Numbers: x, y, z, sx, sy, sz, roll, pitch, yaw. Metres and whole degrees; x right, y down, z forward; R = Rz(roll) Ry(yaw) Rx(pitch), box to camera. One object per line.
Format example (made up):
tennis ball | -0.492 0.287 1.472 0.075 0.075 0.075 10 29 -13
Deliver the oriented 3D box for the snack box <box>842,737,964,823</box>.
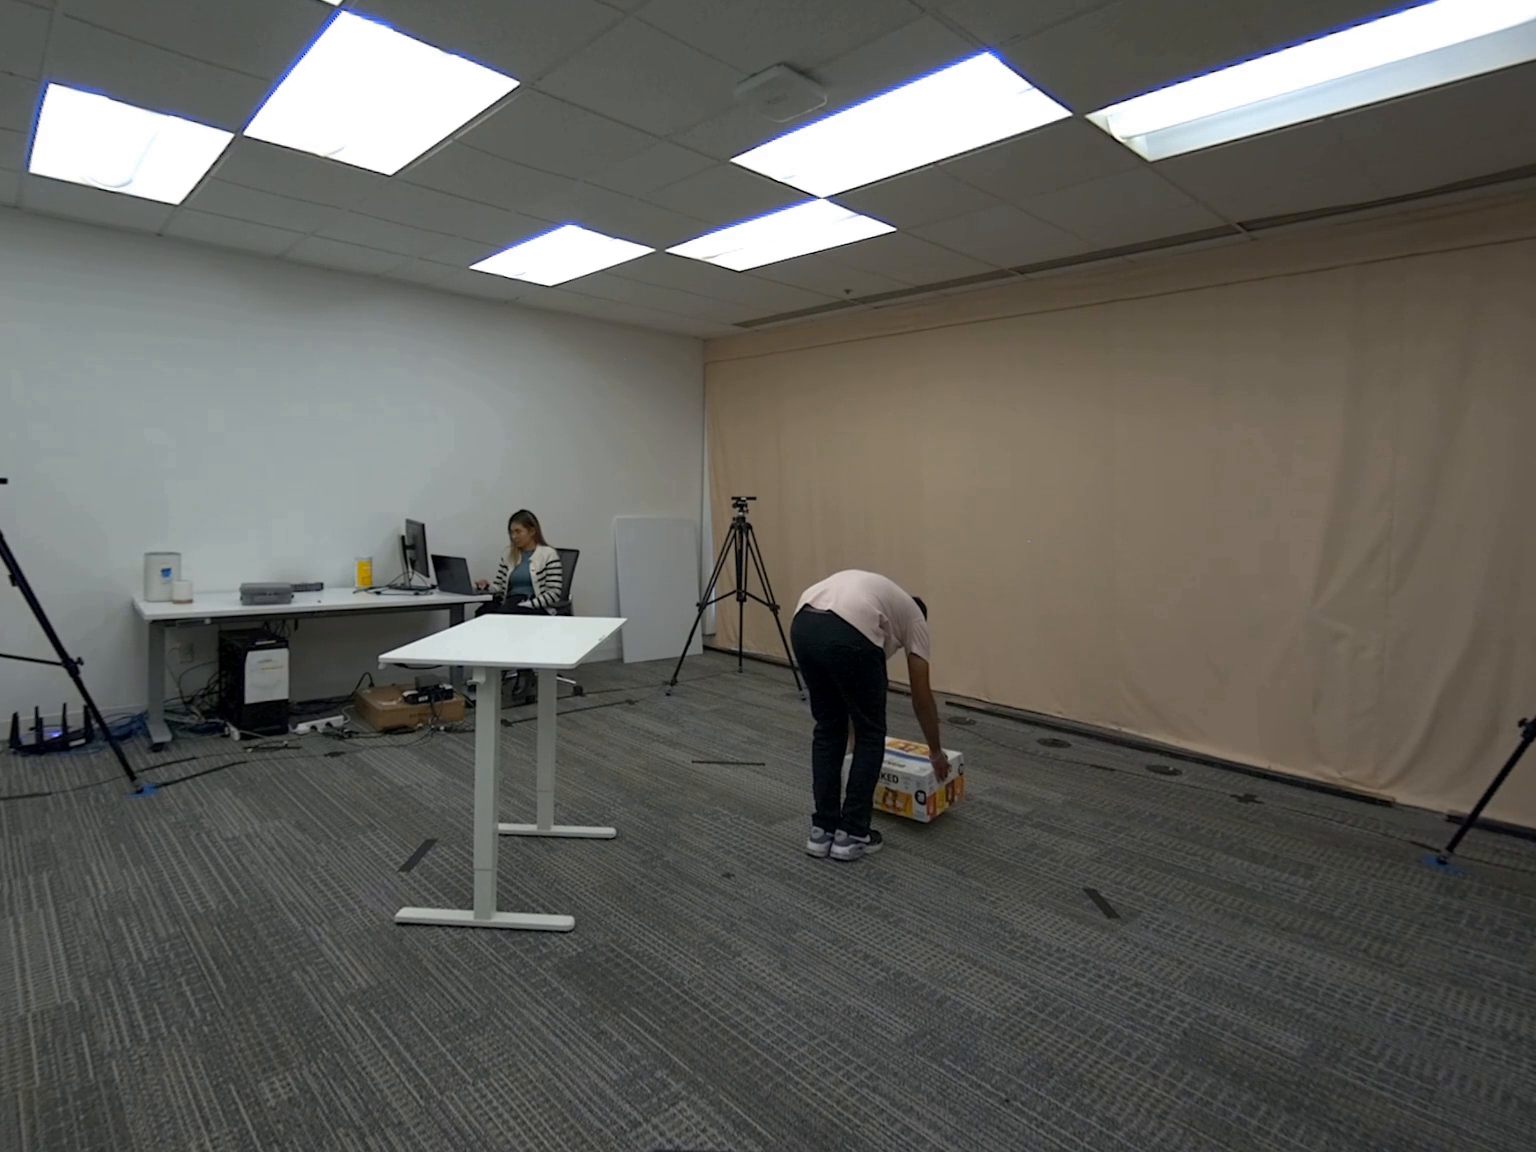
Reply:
snack box | 0.597 0.897 3.755 0.415 0.205 0.333 4 9 40
